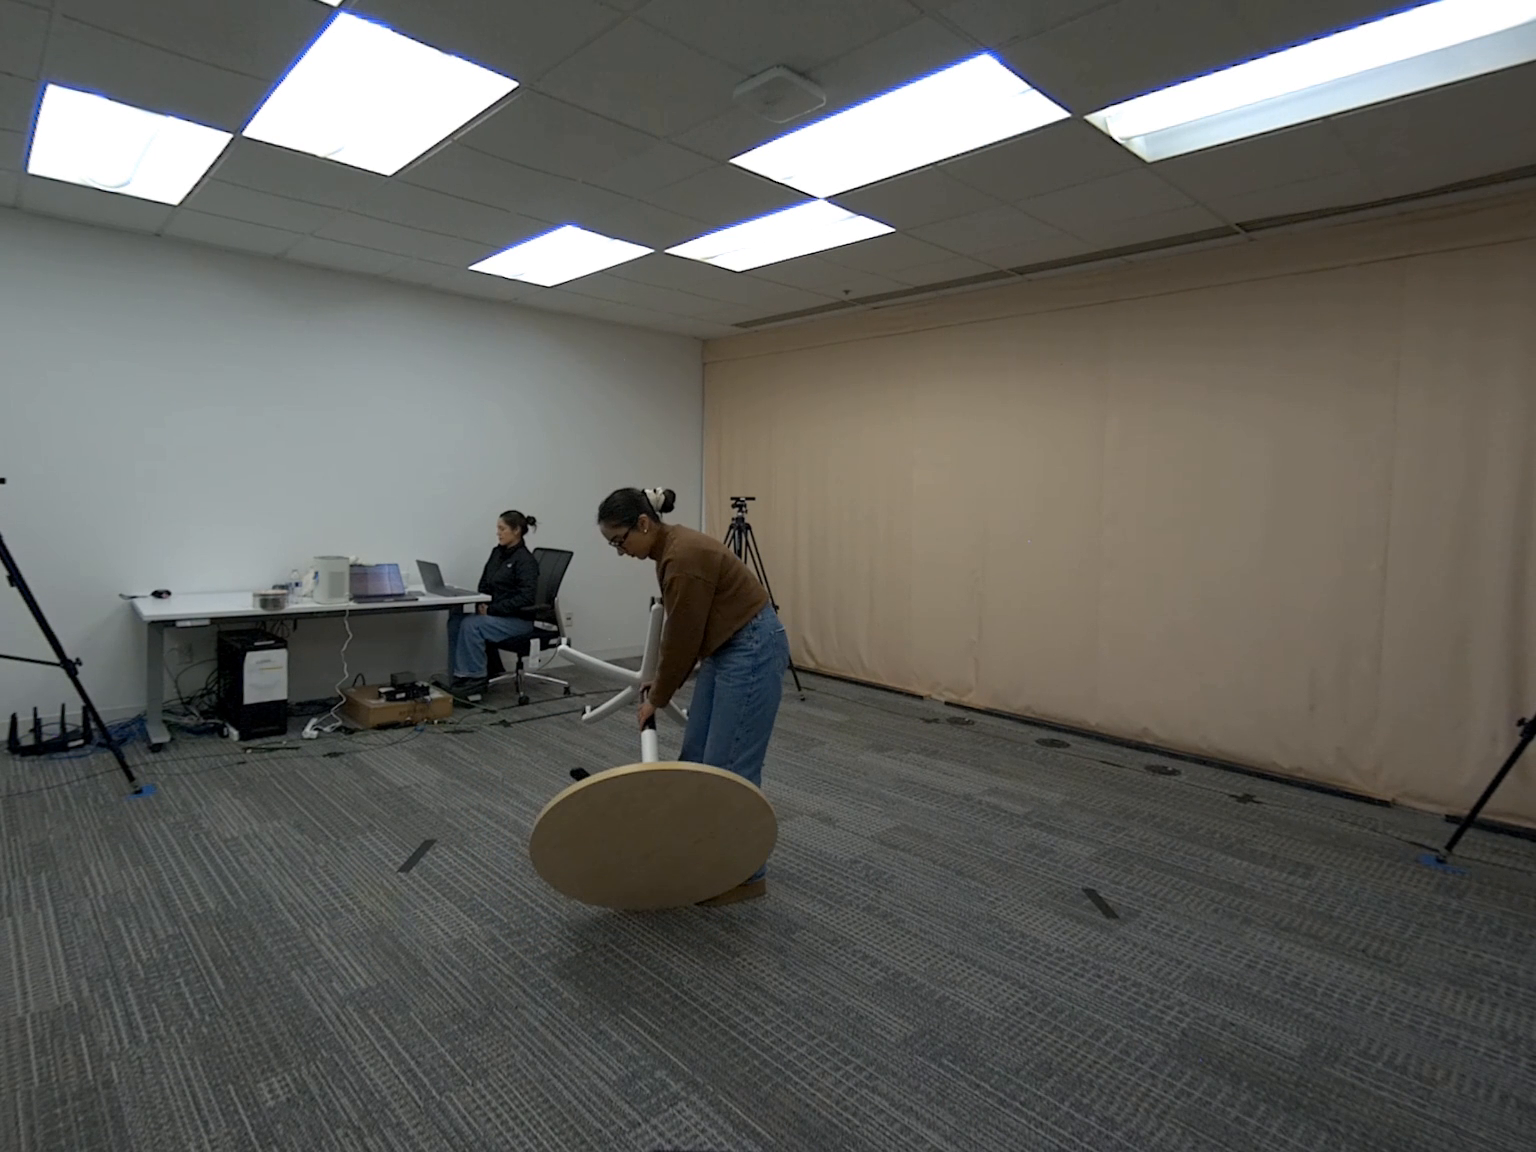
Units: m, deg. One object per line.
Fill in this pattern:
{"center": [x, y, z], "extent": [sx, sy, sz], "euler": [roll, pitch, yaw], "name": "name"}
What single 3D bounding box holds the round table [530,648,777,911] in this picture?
{"center": [-0.420, 0.581, 2.907], "extent": [0.758, 0.750, 0.815], "euler": [0, 39, -11], "name": "round table"}
